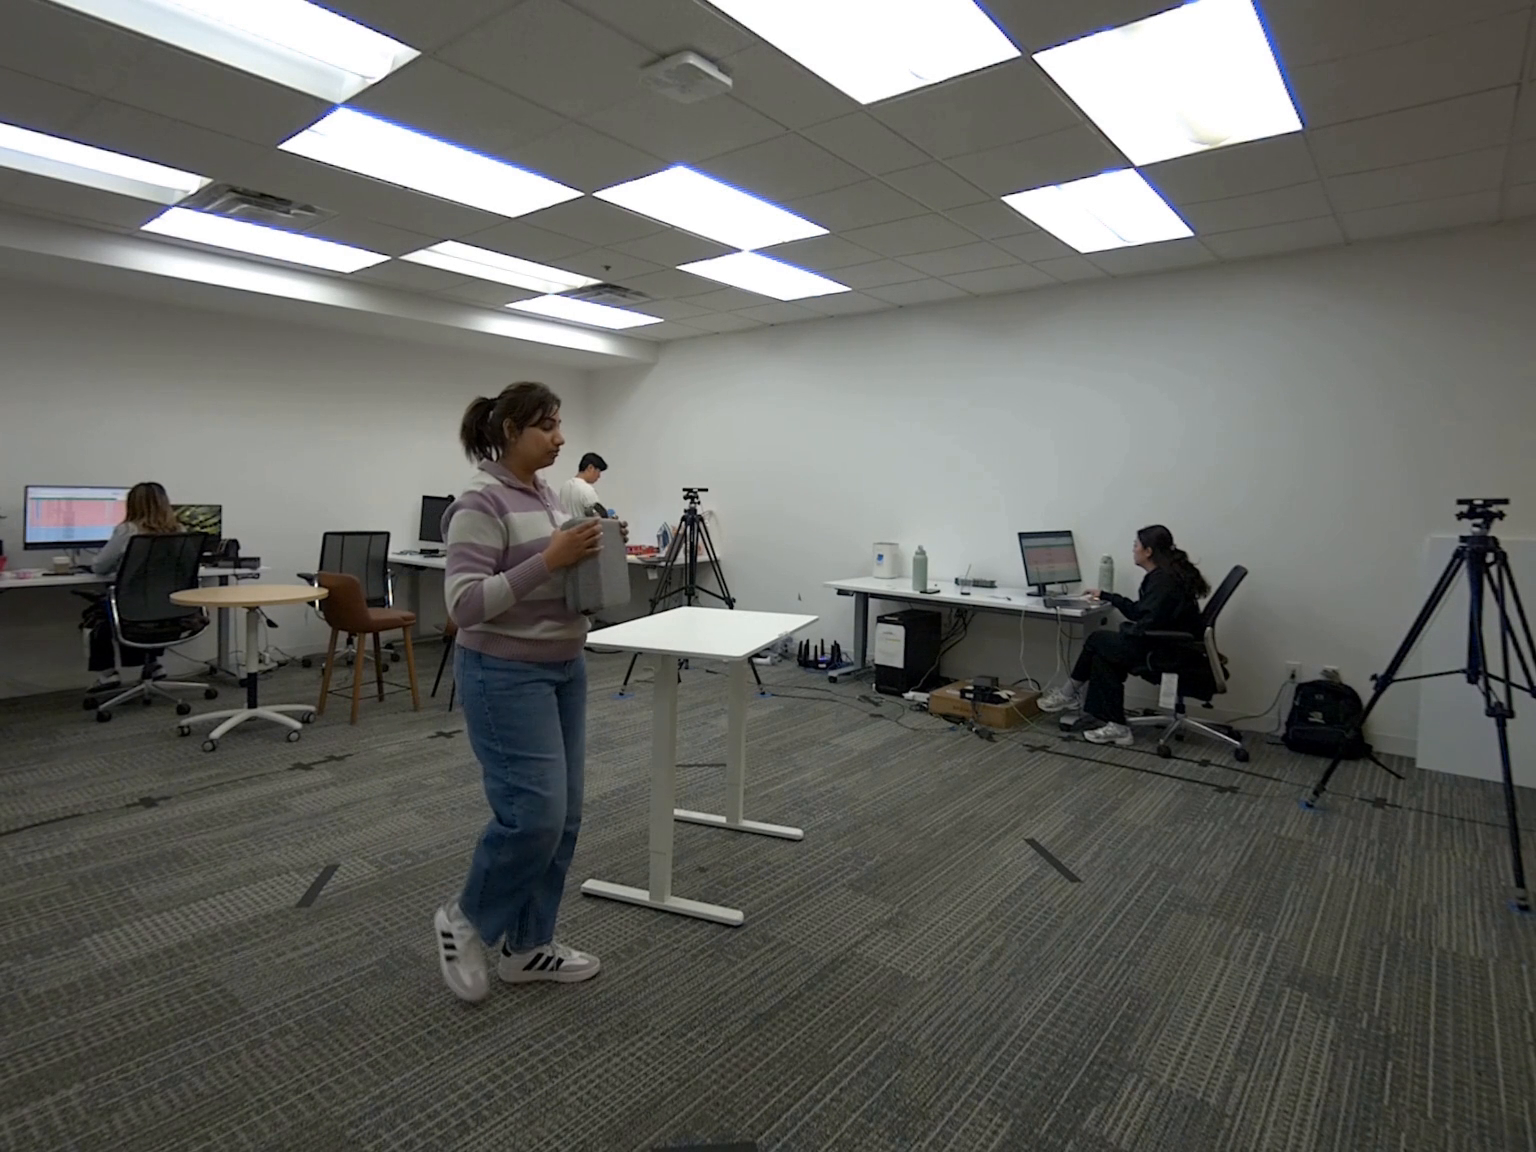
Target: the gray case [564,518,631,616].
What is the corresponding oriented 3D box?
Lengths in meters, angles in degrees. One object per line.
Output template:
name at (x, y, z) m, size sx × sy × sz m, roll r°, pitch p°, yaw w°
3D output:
gray case at (-0.481, -0.029, 2.315) m, size 0.105 × 0.261 × 0.254 m, roll -4°, pitch 0°, yaw 11°
